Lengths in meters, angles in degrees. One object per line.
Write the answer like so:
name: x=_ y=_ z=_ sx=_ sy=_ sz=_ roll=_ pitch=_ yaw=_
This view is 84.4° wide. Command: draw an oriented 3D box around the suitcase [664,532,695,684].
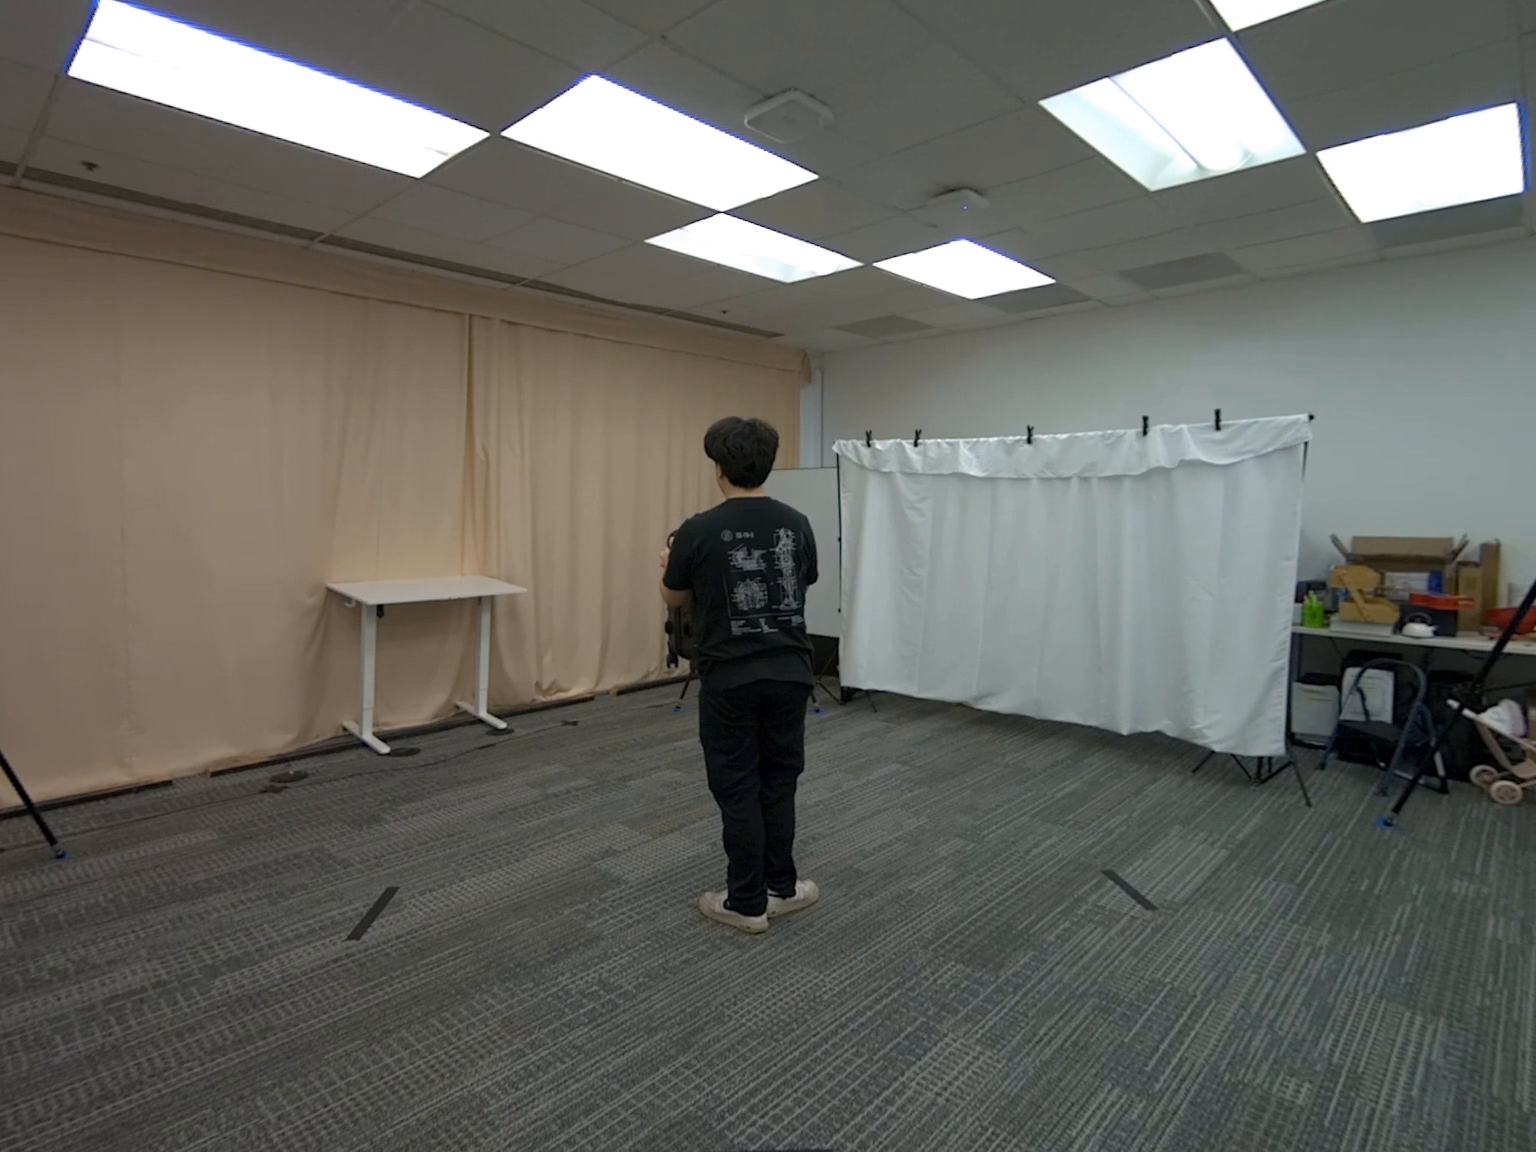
suitcase: x=-0.190 y=0.071 z=3.199 sx=0.365 sy=0.549 sz=0.255 roll=0 pitch=0 yaw=-31
